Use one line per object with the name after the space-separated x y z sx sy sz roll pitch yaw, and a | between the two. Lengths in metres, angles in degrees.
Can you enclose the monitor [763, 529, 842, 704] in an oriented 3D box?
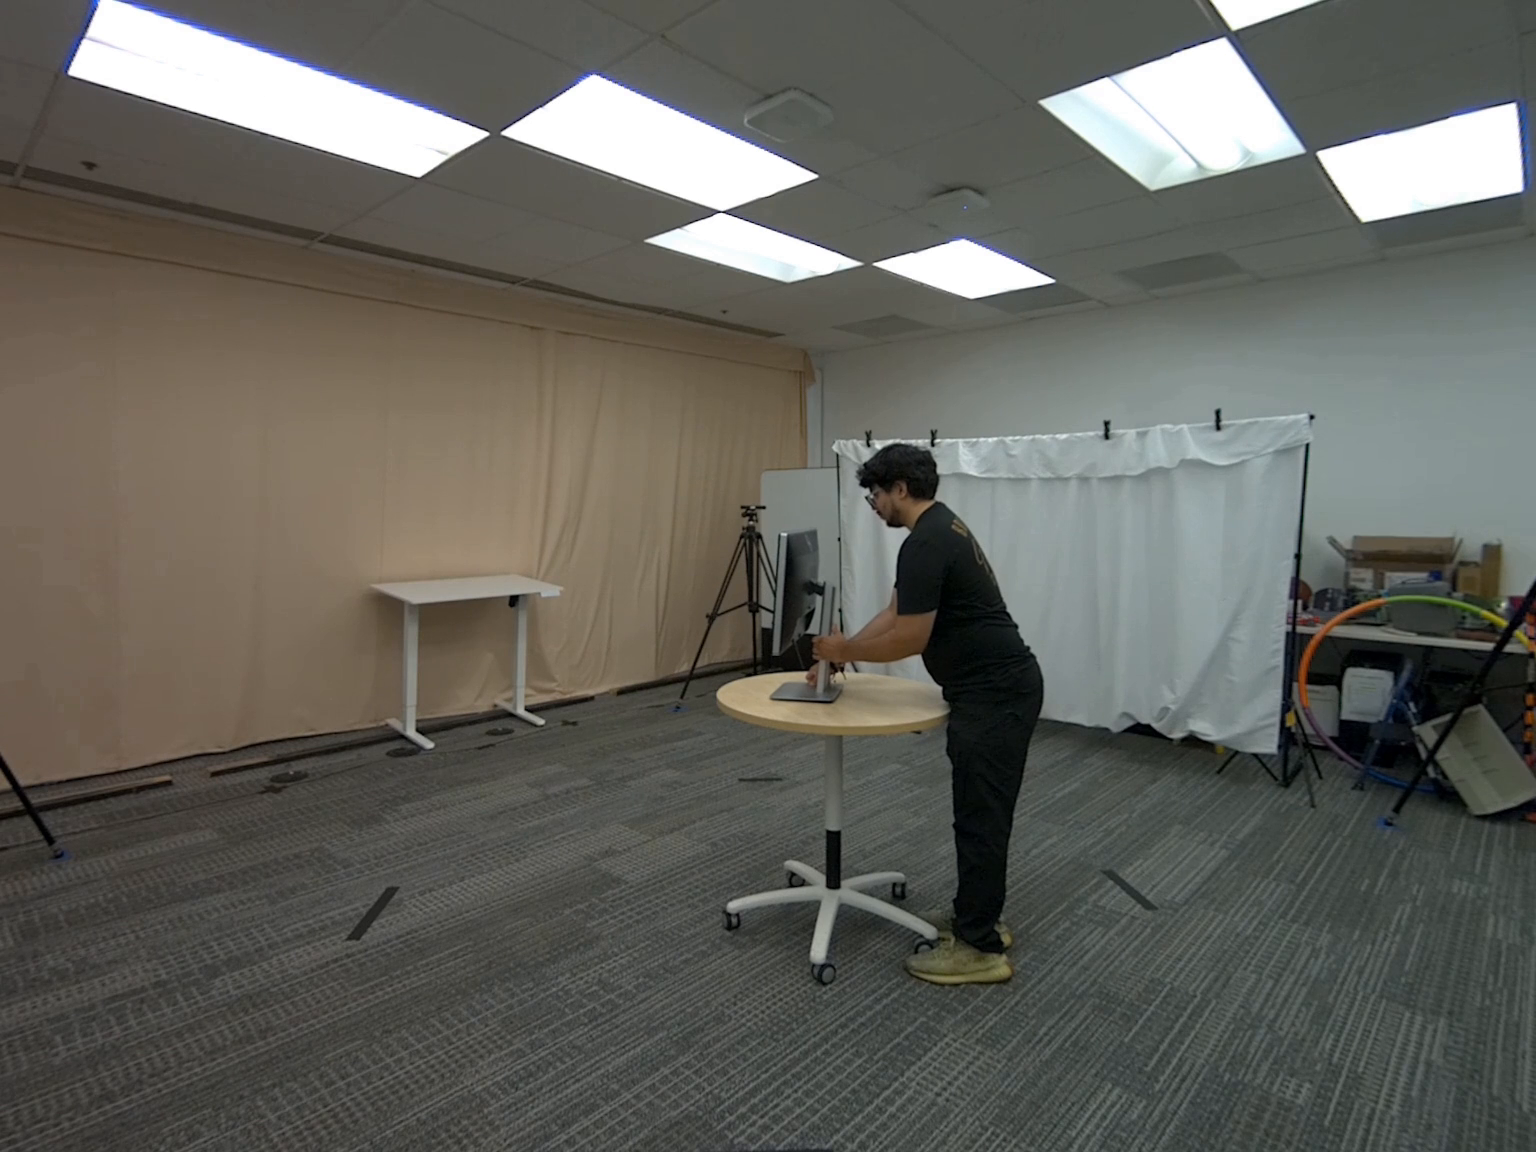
0.156 0.123 2.730 0.214 0.552 0.557 2 5 14 | monitor
